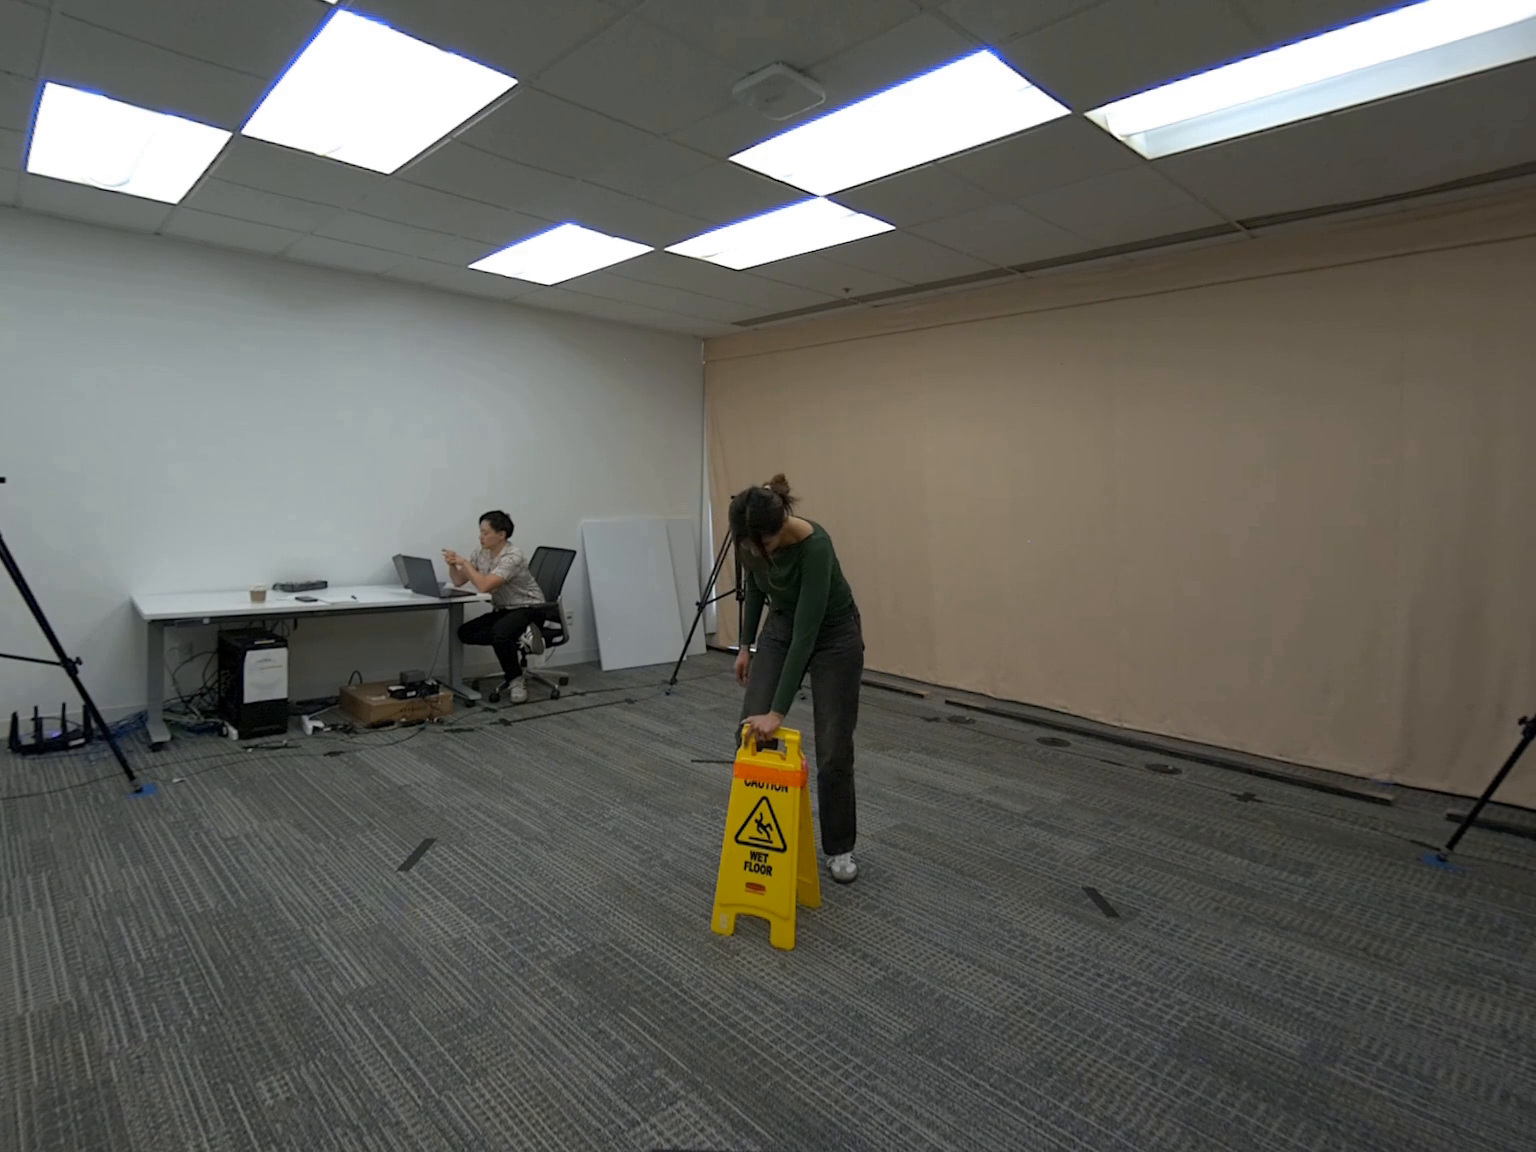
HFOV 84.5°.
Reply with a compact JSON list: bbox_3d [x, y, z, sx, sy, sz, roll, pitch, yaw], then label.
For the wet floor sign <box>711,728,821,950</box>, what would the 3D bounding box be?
[{"bbox_3d":[0.001,0.812,2.764,0.287,0.644,0.285,3,4,21],"label":"wet floor sign"}]
